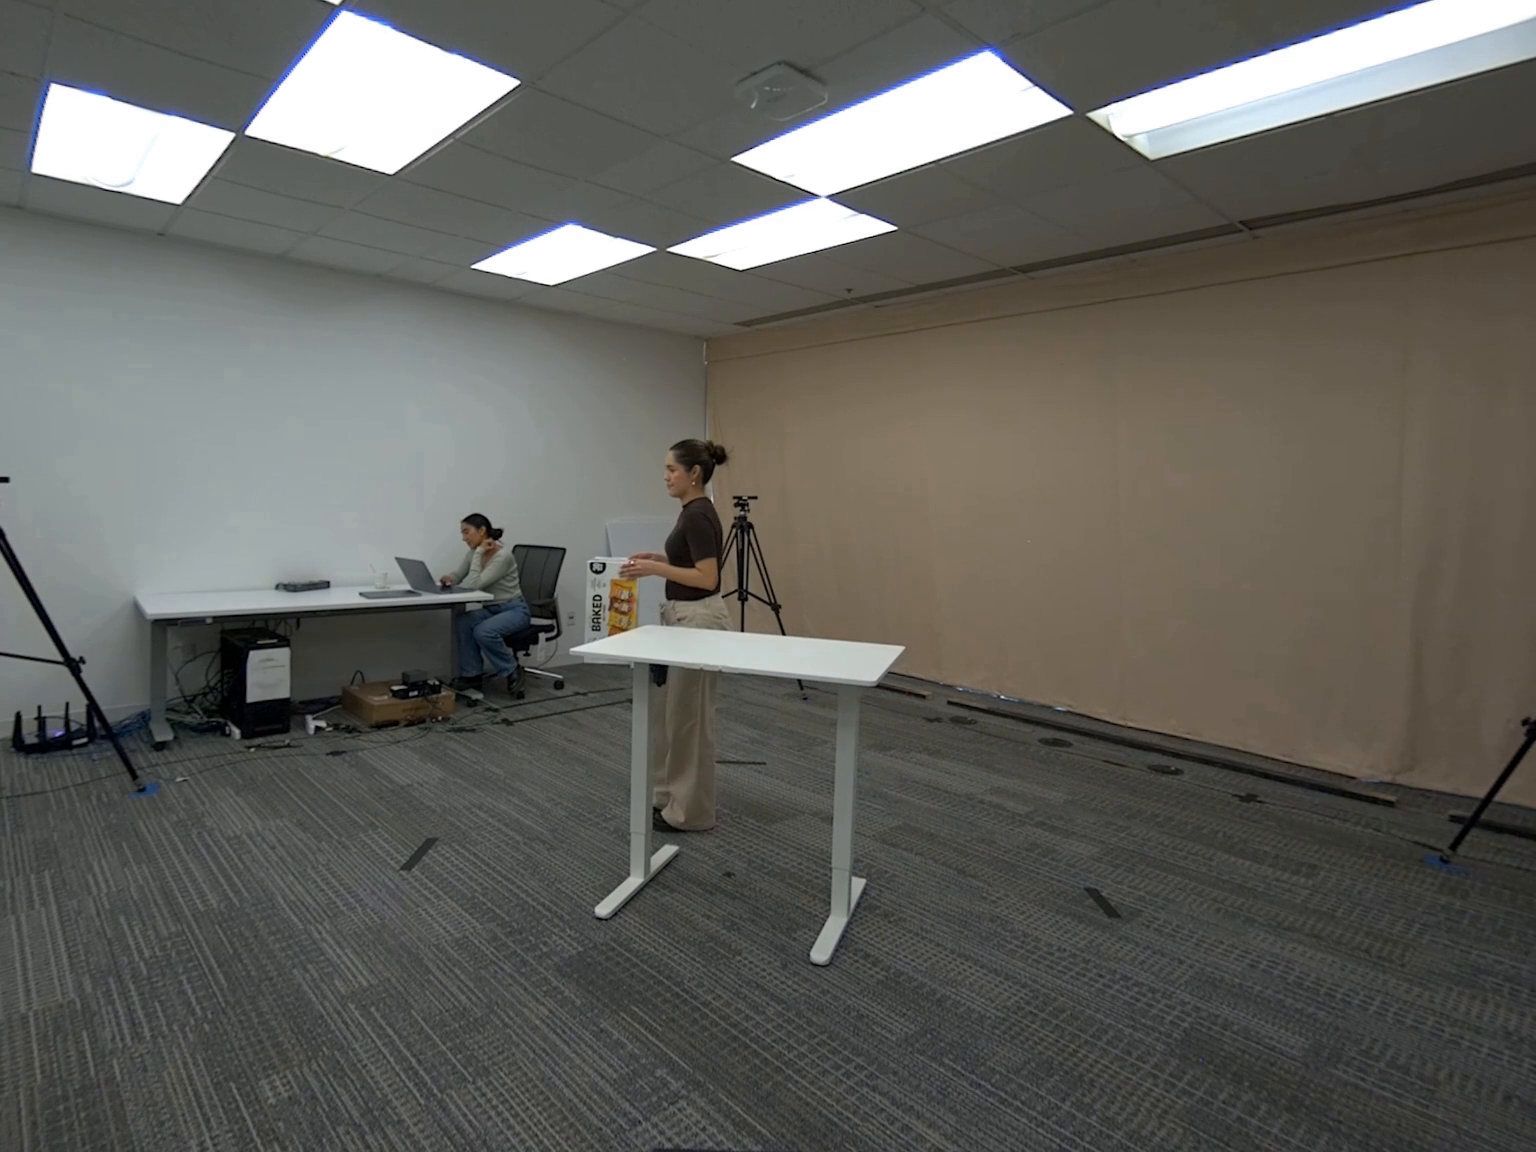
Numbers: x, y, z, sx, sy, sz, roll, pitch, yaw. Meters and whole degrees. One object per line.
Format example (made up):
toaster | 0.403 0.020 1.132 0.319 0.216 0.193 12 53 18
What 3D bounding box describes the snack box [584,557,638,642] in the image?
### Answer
snack box | -0.640 0.137 3.512 0.205 0.405 0.342 2 2 -4
